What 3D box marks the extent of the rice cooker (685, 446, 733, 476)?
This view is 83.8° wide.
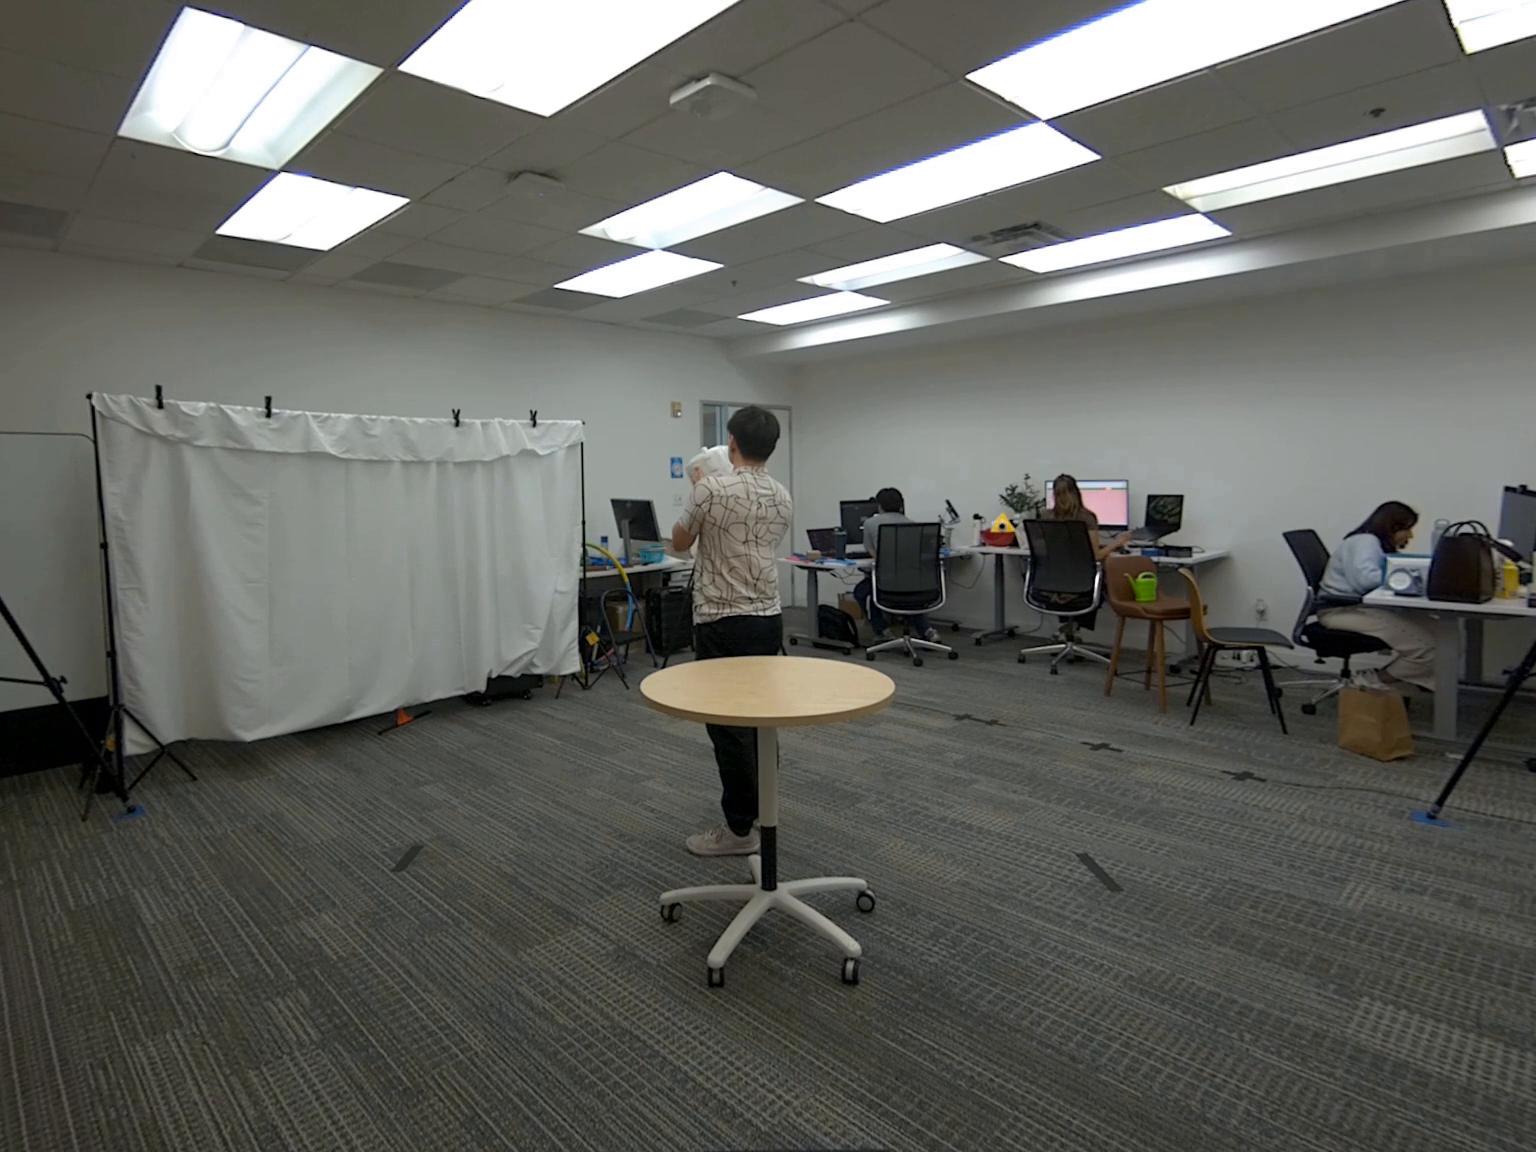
[{"bbox_3d":[-0.229,-0.438,3.635,0.217,0.233,0.220,-26,1,-1],"label":"rice cooker"}]
